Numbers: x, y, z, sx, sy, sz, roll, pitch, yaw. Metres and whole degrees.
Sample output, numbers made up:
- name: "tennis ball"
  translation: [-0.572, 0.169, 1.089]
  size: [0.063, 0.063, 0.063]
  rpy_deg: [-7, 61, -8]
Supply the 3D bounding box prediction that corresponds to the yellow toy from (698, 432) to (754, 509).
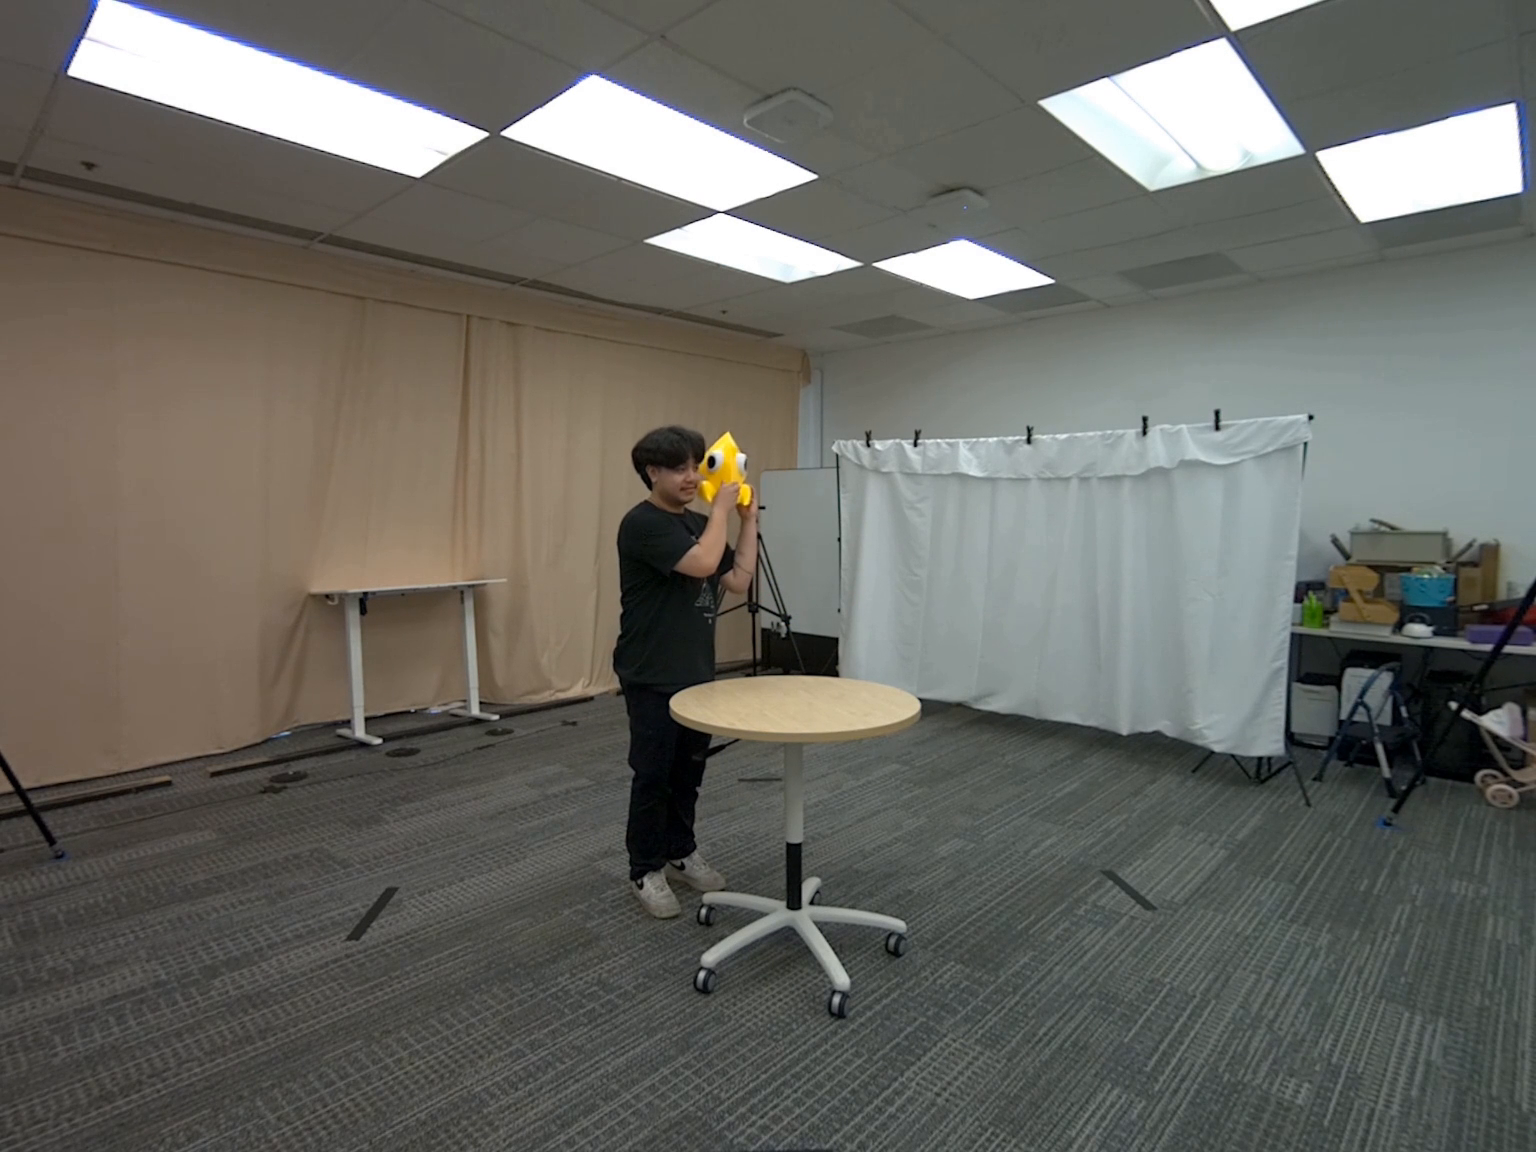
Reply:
- name: "yellow toy"
  translation: [-0.146, -0.392, 3.053]
  size: [0.201, 0.229, 0.198]
  rpy_deg: [3, 19, -17]
